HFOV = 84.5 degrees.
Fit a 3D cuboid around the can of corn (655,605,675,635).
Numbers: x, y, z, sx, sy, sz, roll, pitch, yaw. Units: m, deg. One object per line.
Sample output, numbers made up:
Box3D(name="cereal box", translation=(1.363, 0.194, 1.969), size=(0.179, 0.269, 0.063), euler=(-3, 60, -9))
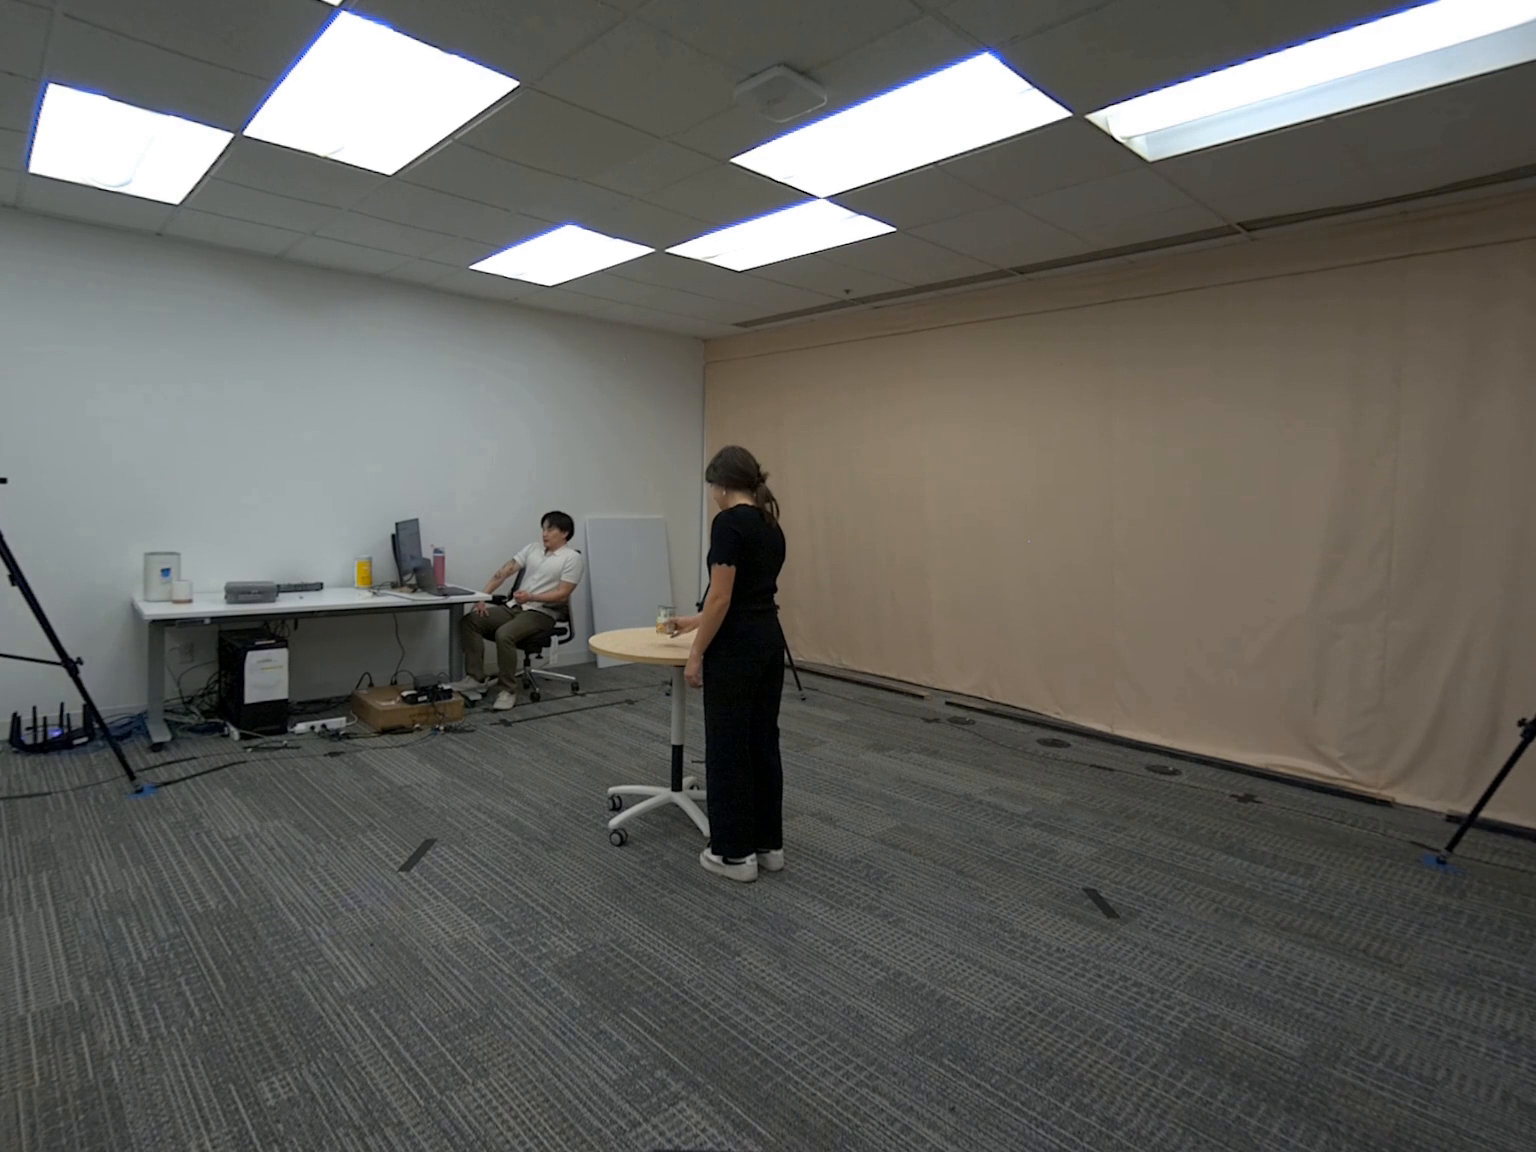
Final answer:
Box3D(name="can of corn", translation=(-0.417, 0.182, 3.450), size=(0.074, 0.111, 0.074), euler=(5, -3, -1))
